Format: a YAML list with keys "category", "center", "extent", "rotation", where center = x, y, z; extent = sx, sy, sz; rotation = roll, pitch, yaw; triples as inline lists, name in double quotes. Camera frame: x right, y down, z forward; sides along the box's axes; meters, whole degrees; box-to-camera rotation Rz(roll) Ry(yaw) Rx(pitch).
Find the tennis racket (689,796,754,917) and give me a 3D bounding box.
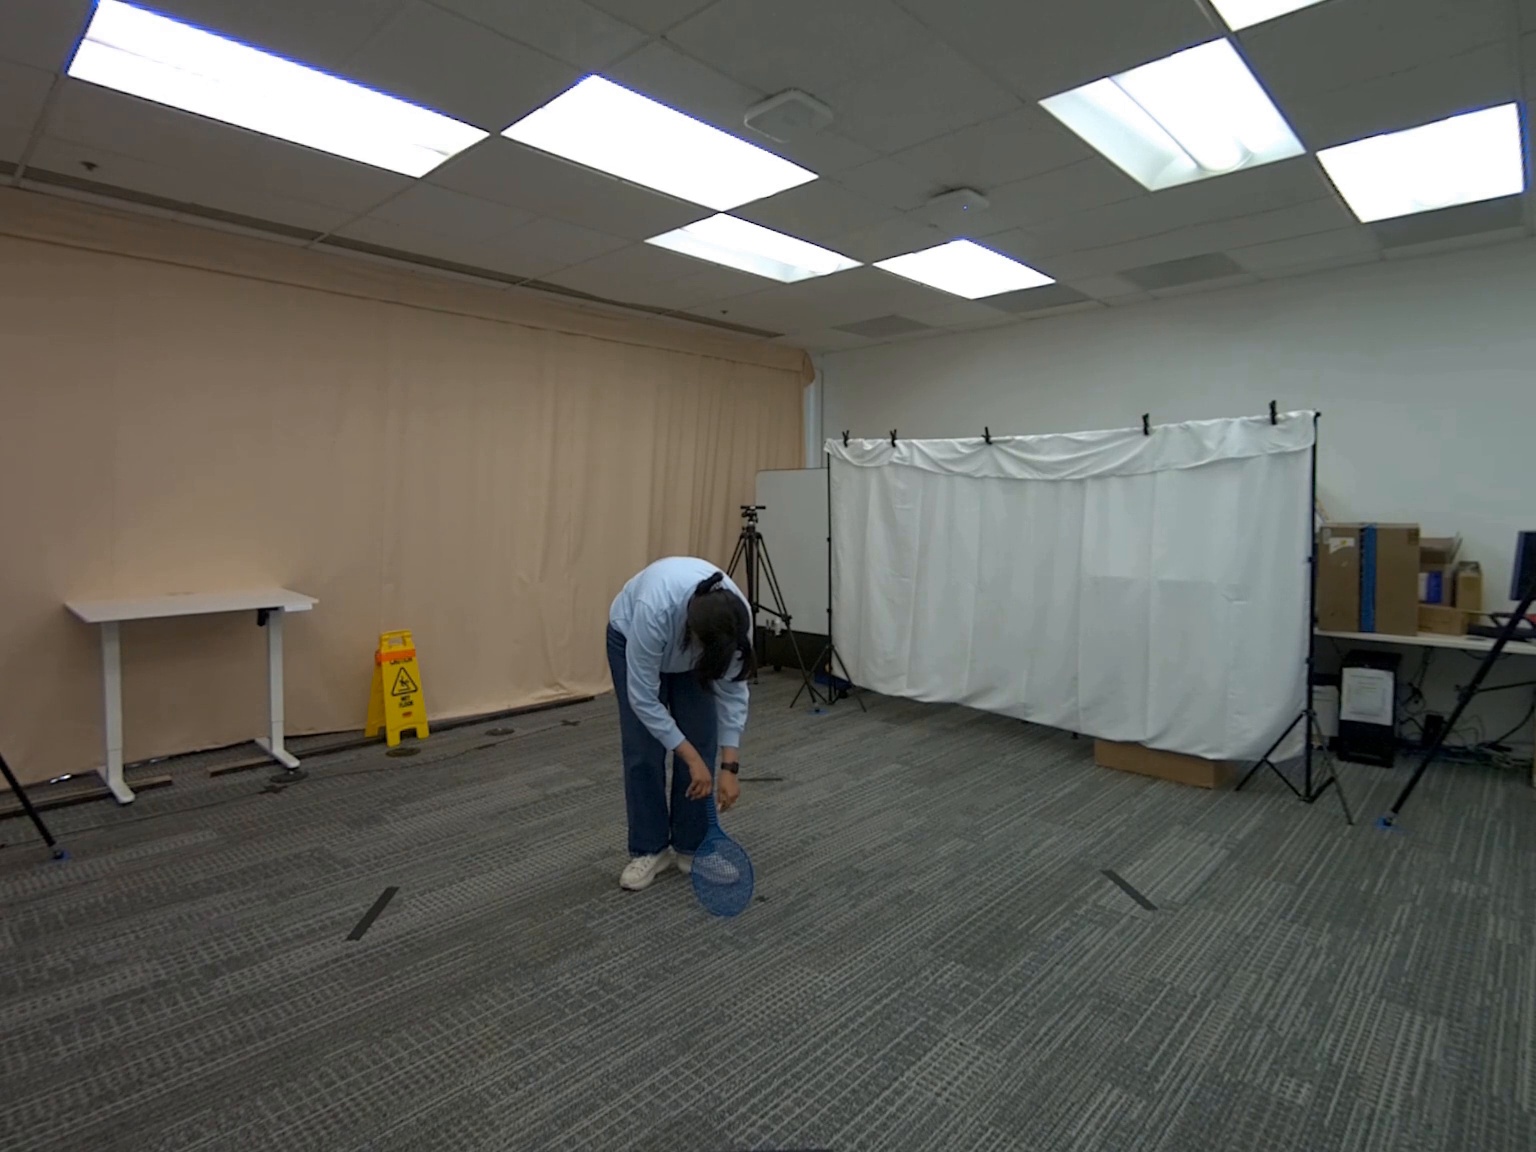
- category: "tennis racket"
  center: [-0.167, 0.949, 2.875]
  extent: [0.215, 0.434, 0.031]
  rotation: [-13, -3, 8]
